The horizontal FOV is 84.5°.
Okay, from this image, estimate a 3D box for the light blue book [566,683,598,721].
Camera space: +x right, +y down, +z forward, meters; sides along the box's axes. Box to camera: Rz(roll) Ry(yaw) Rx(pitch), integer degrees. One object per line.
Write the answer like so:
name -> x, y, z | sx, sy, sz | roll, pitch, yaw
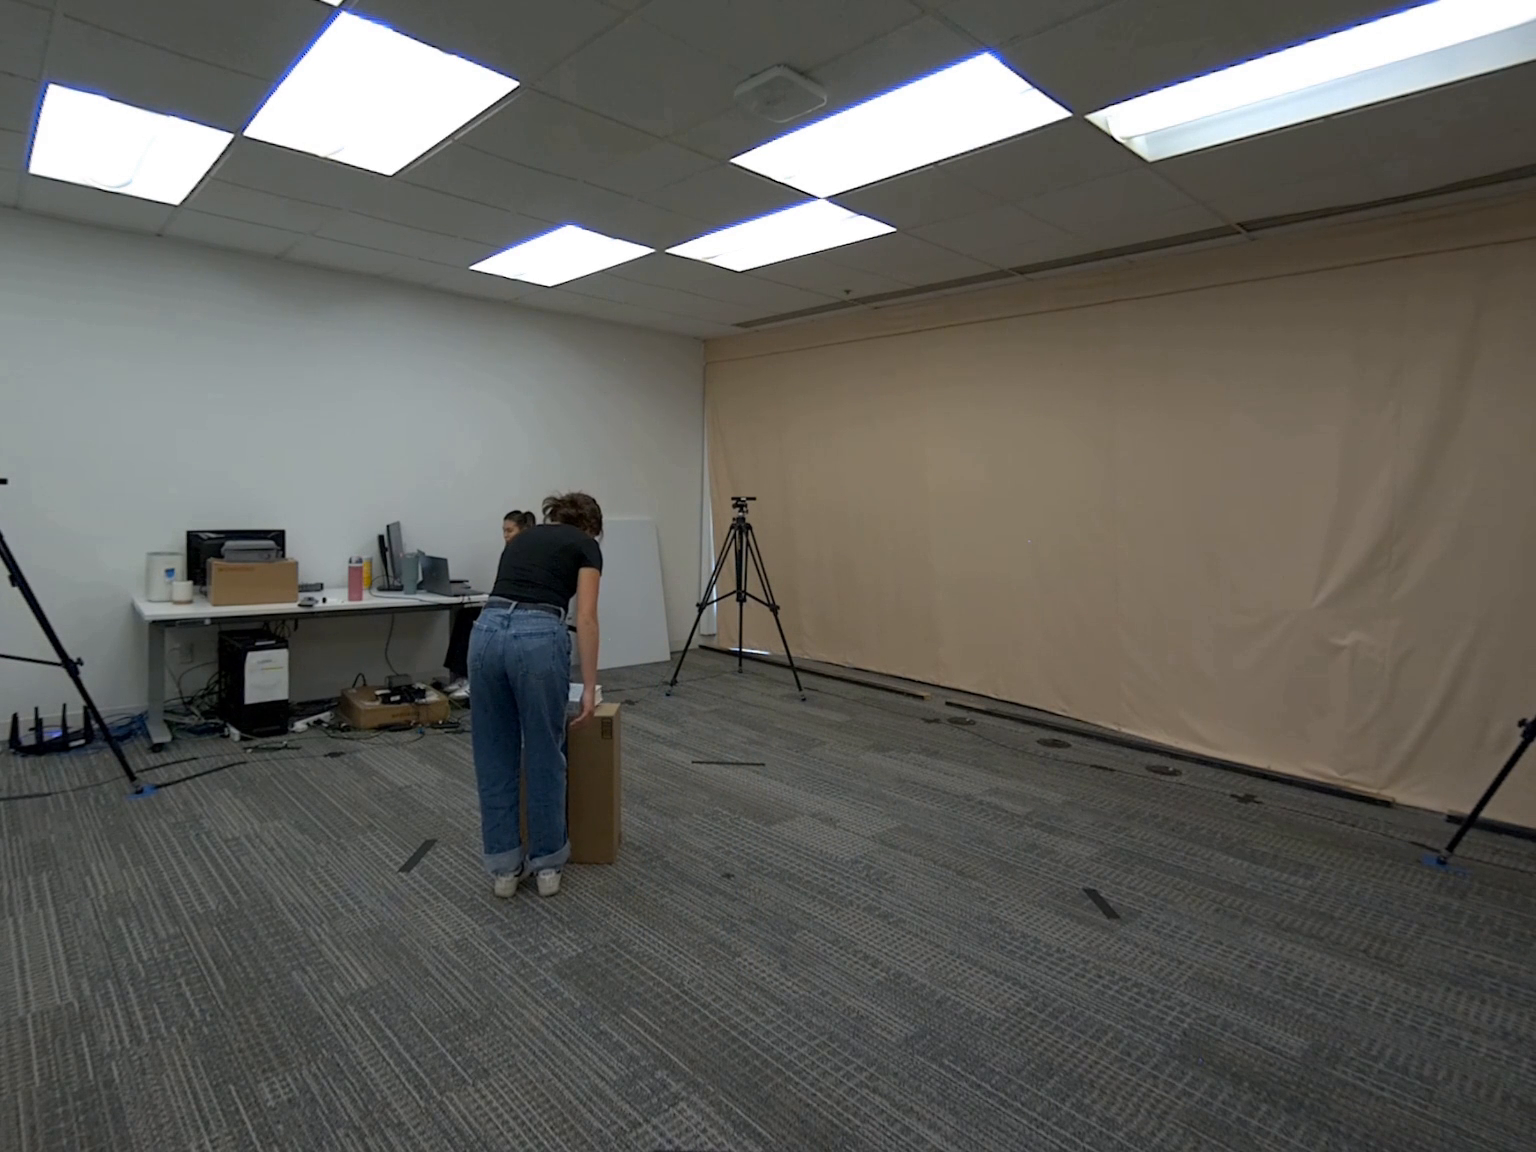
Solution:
light blue book -> -0.818, 0.482, 3.269 | 0.264, 0.058, 0.191 | 2, 11, 13
